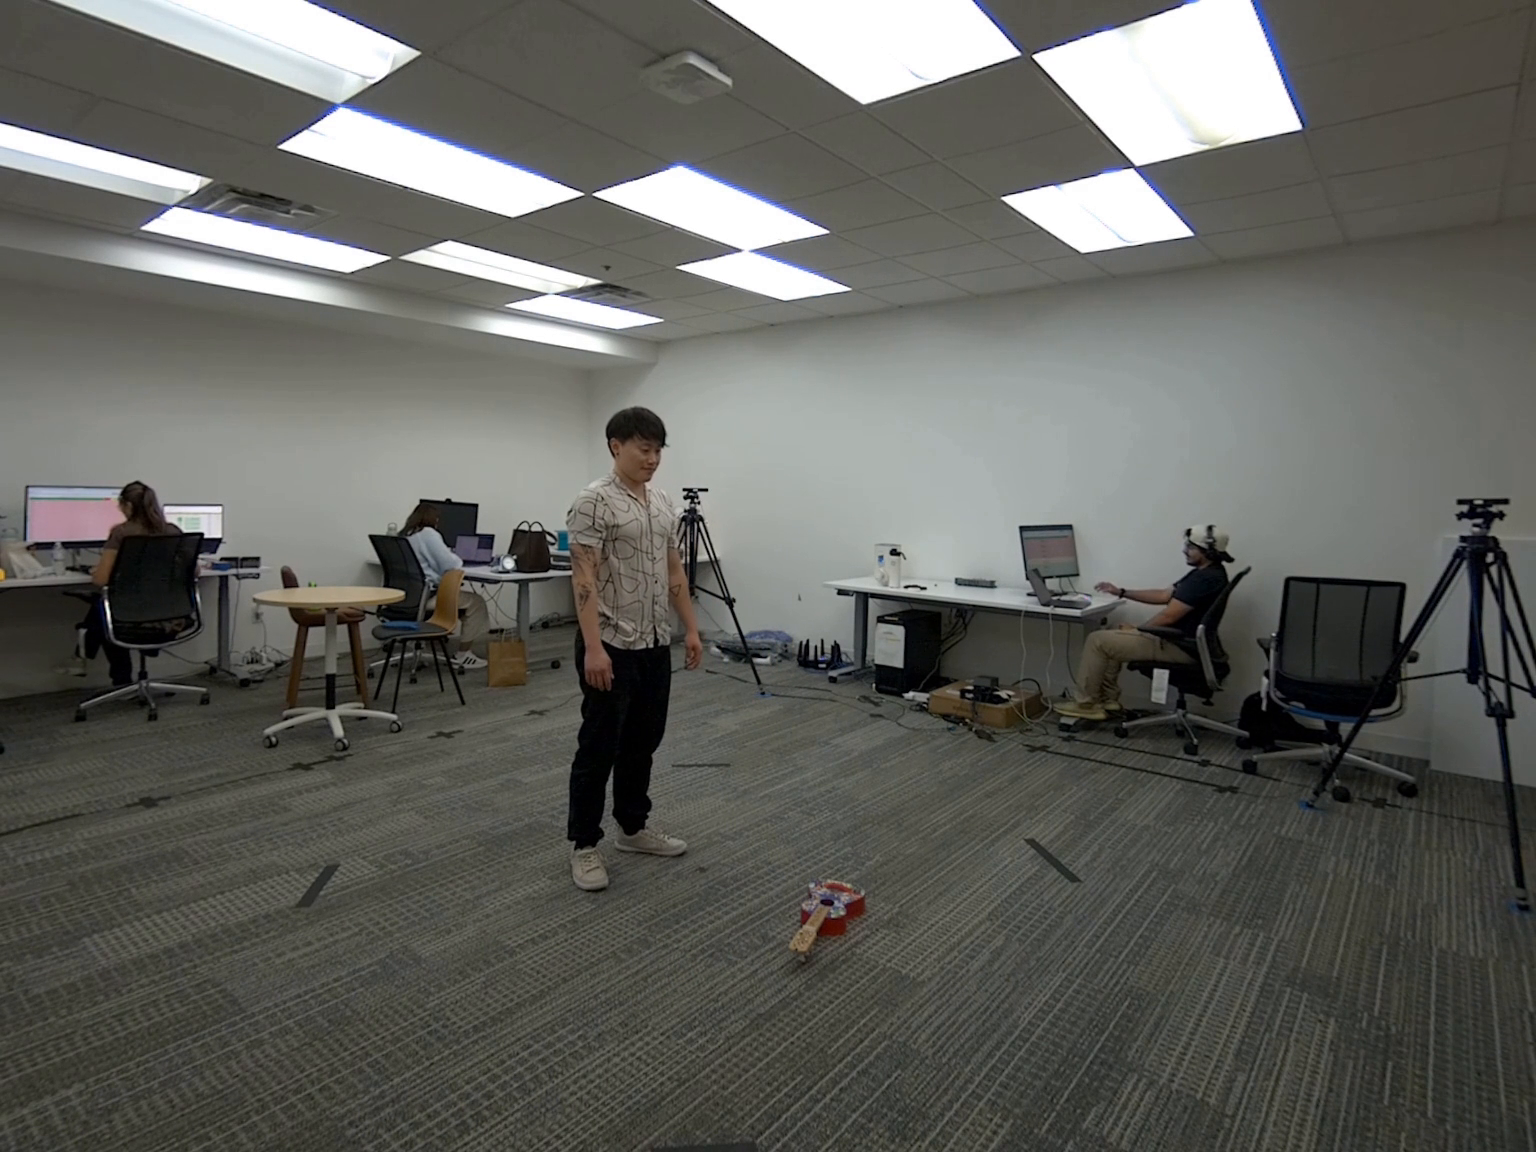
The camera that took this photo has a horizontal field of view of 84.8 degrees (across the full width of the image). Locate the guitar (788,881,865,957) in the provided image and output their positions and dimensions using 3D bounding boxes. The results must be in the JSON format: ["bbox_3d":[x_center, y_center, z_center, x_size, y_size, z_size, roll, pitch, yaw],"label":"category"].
[{"bbox_3d":[0.135,1.085,2.700,0.199,0.070,0.485,5,6,30],"label":"guitar"}]
